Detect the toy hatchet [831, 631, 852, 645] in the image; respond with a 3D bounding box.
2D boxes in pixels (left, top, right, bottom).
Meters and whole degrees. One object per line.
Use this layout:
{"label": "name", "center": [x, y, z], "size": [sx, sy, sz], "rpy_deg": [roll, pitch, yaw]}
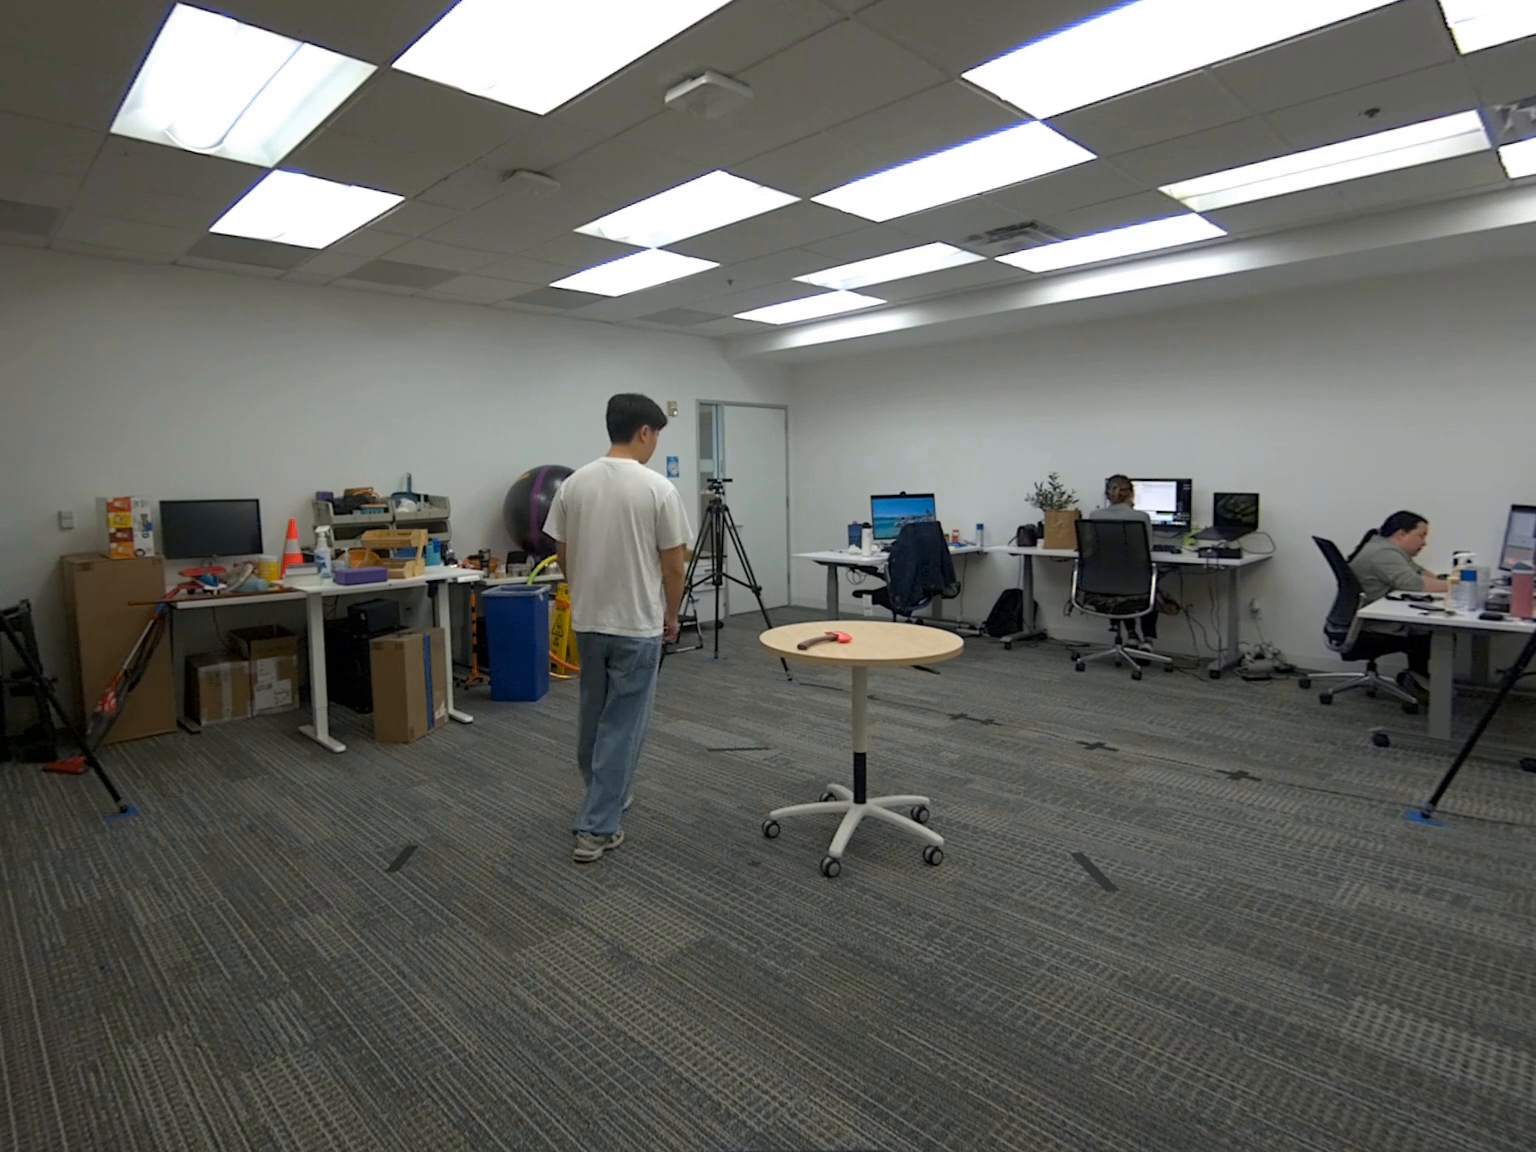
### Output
{"label": "toy hatchet", "center": [0.217, 0.241, 3.137], "size": [0.134, 0.029, 0.265], "rpy_deg": [7, 11, 28]}
